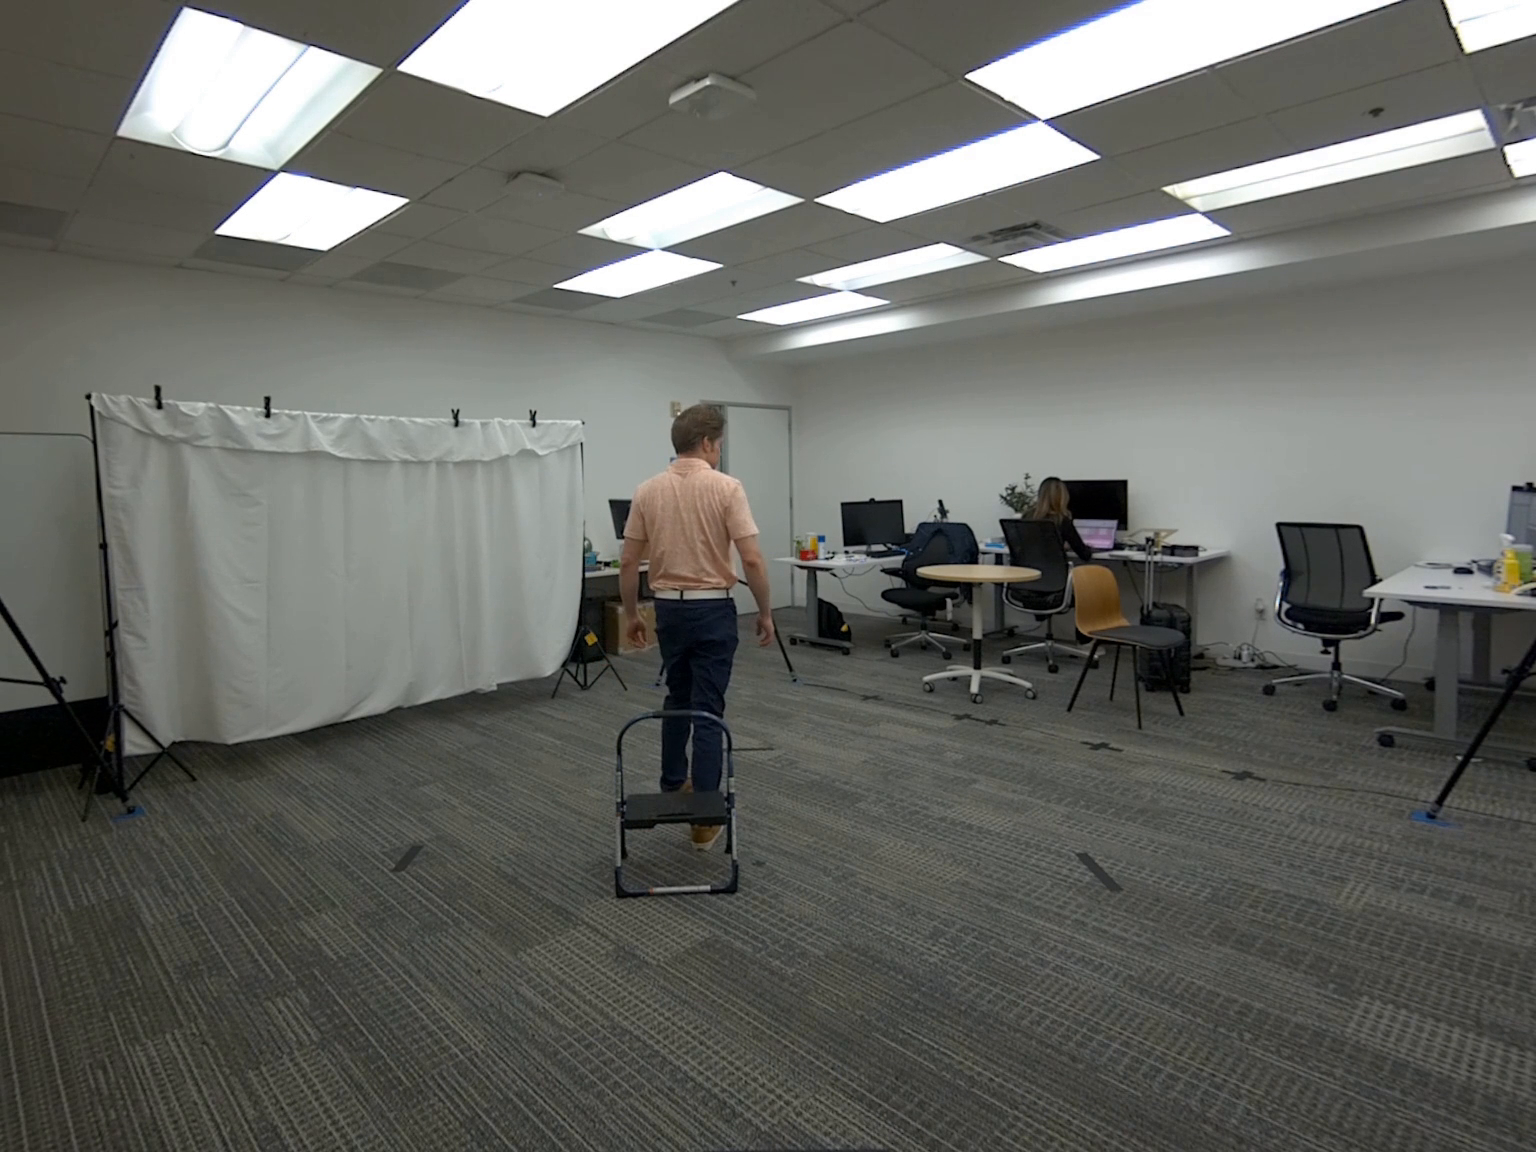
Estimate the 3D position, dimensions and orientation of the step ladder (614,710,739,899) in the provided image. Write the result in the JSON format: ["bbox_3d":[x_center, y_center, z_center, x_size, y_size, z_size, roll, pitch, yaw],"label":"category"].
[{"bbox_3d":[-0.334,0.763,3.028,0.429,0.604,0.352,-2,4,-5],"label":"step ladder"}]
